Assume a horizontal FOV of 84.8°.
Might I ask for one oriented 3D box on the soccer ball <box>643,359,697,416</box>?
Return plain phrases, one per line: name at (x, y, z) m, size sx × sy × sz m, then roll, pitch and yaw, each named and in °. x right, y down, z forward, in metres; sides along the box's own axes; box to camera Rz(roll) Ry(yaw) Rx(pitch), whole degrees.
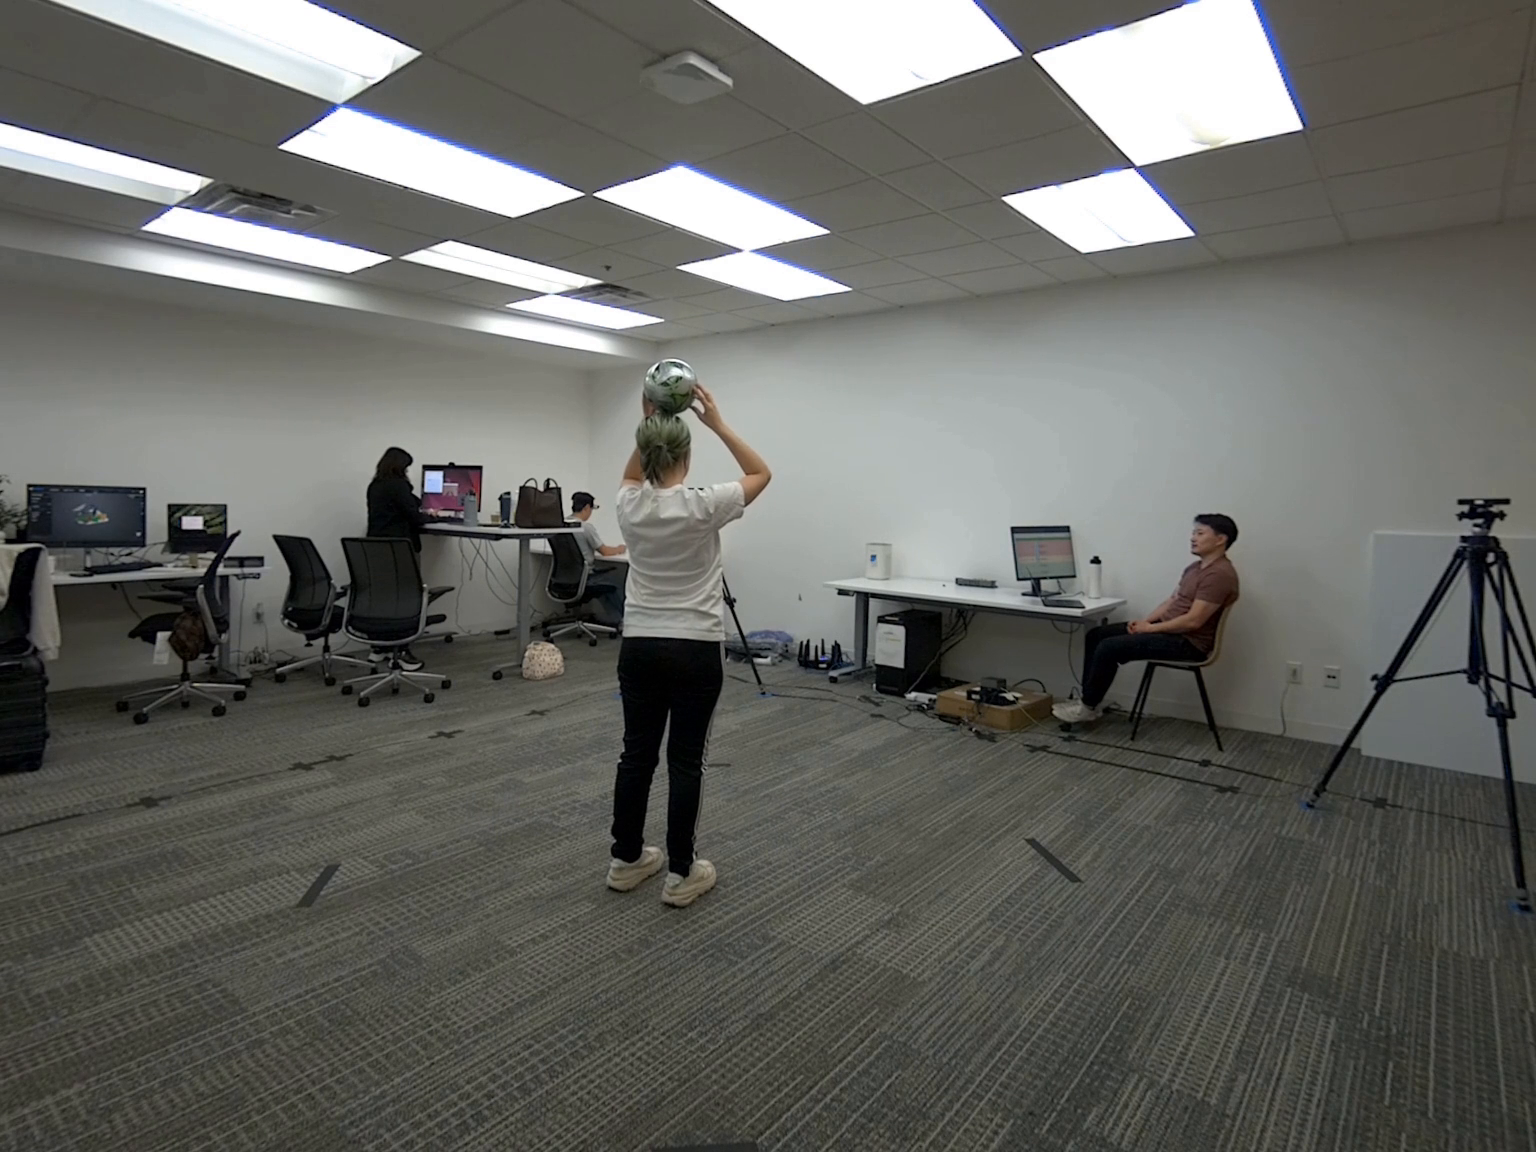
soccer ball at (-0.347, -0.652, 2.941) m, size 0.187 × 0.187 × 0.188 m, roll 1°, pitch 4°, yaw -2°
